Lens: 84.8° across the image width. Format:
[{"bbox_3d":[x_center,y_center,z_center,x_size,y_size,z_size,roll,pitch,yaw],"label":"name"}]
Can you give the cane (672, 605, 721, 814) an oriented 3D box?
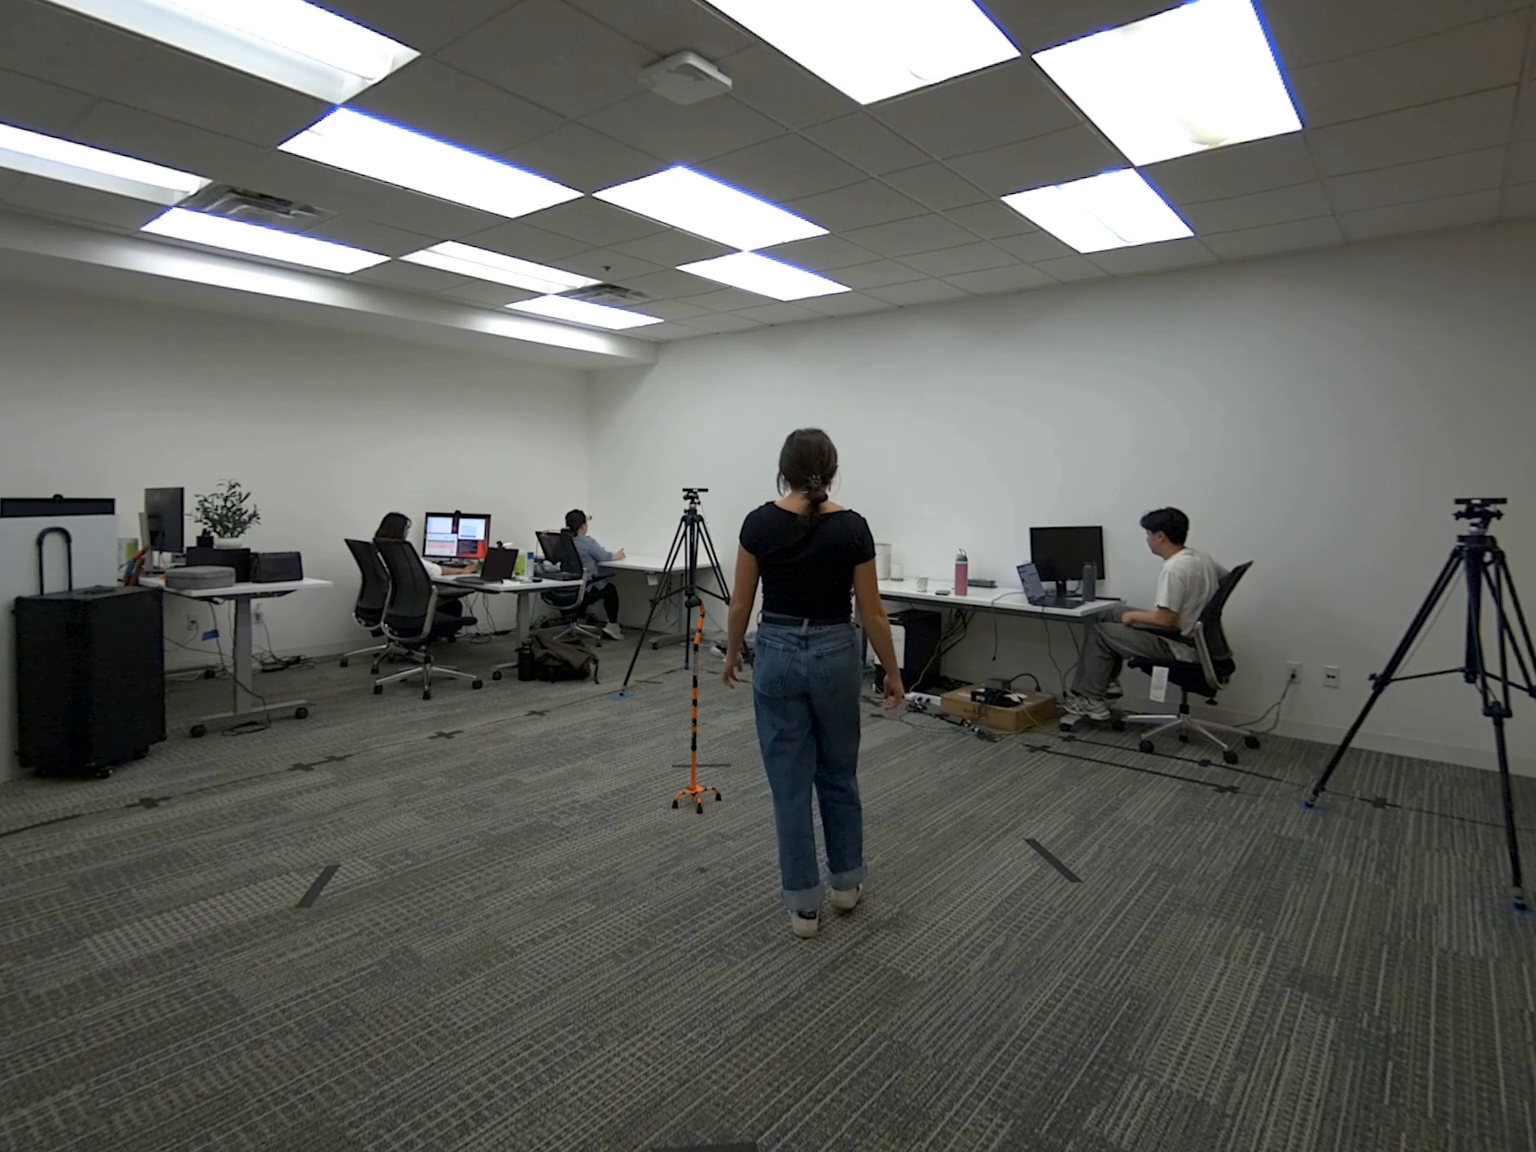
[{"bbox_3d":[-0.308,0.549,3.750,0.155,0.906,0.201,1,2,25],"label":"cane"}]
